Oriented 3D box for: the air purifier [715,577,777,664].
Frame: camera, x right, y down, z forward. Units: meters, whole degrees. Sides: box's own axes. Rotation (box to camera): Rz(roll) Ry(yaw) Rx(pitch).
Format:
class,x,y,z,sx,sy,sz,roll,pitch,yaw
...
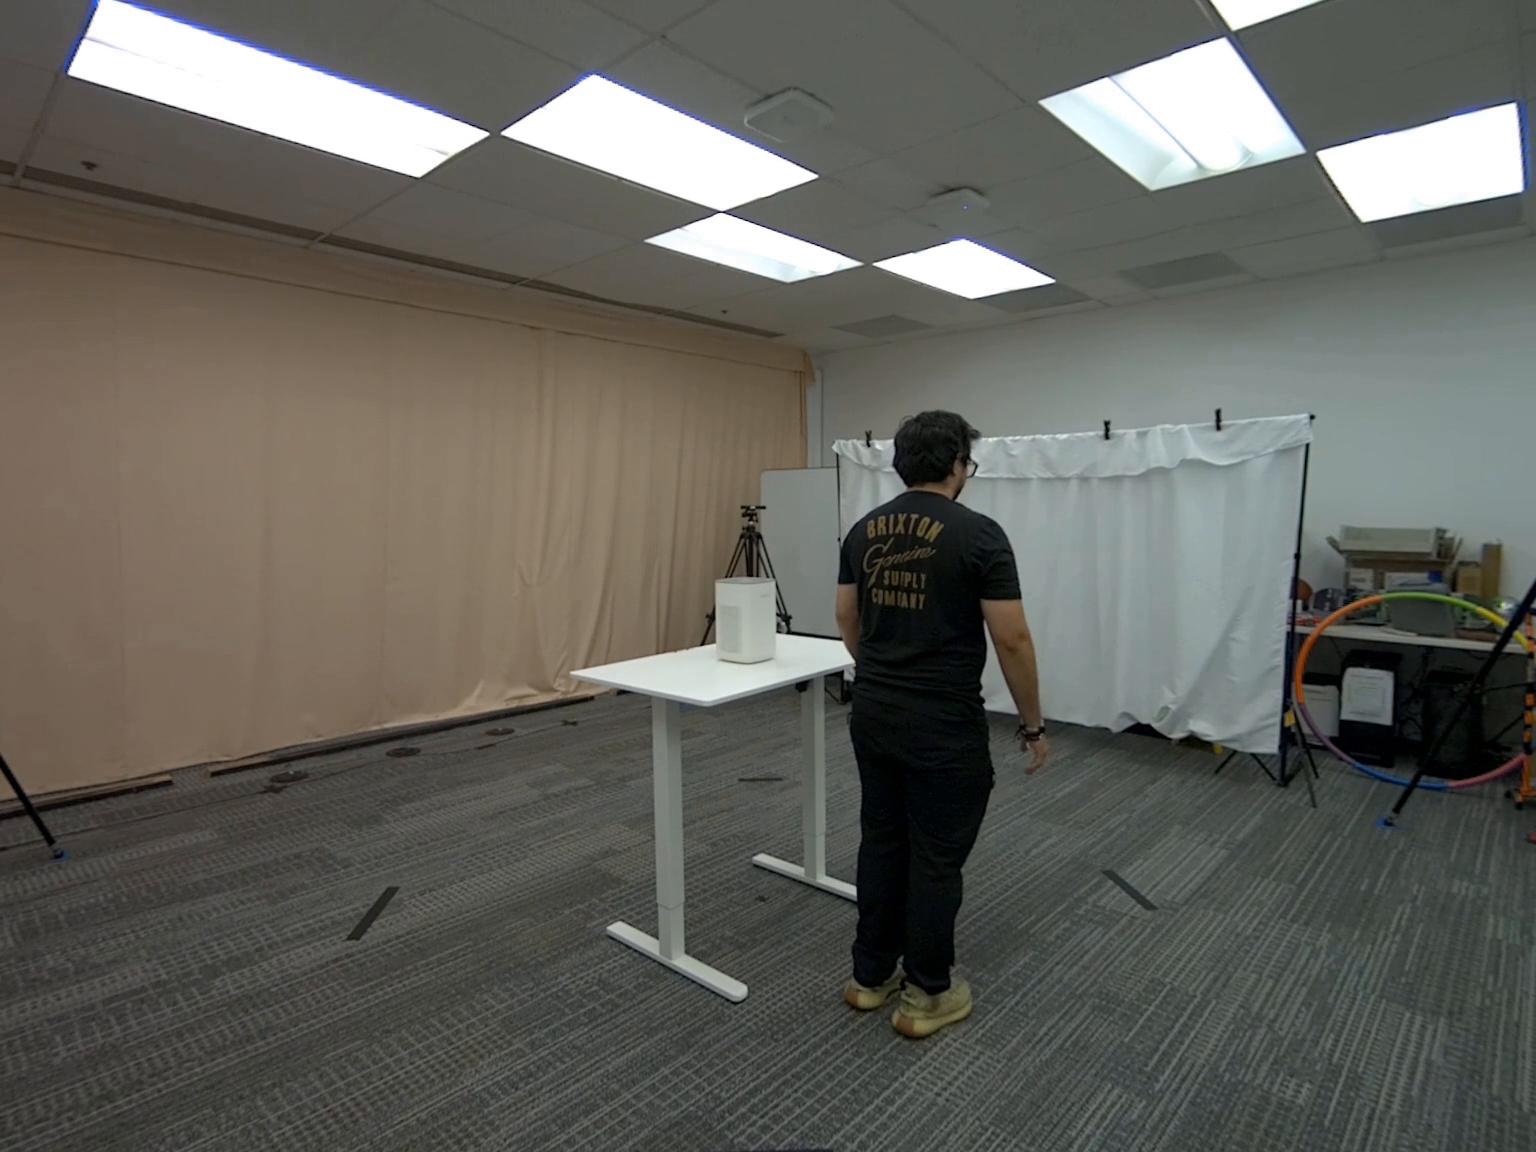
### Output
class,x,y,z,sx,sy,sz,roll,pitch,yaw
air purifier,-0.068,0.147,2.781,0.177,0.265,0.166,2,4,42
